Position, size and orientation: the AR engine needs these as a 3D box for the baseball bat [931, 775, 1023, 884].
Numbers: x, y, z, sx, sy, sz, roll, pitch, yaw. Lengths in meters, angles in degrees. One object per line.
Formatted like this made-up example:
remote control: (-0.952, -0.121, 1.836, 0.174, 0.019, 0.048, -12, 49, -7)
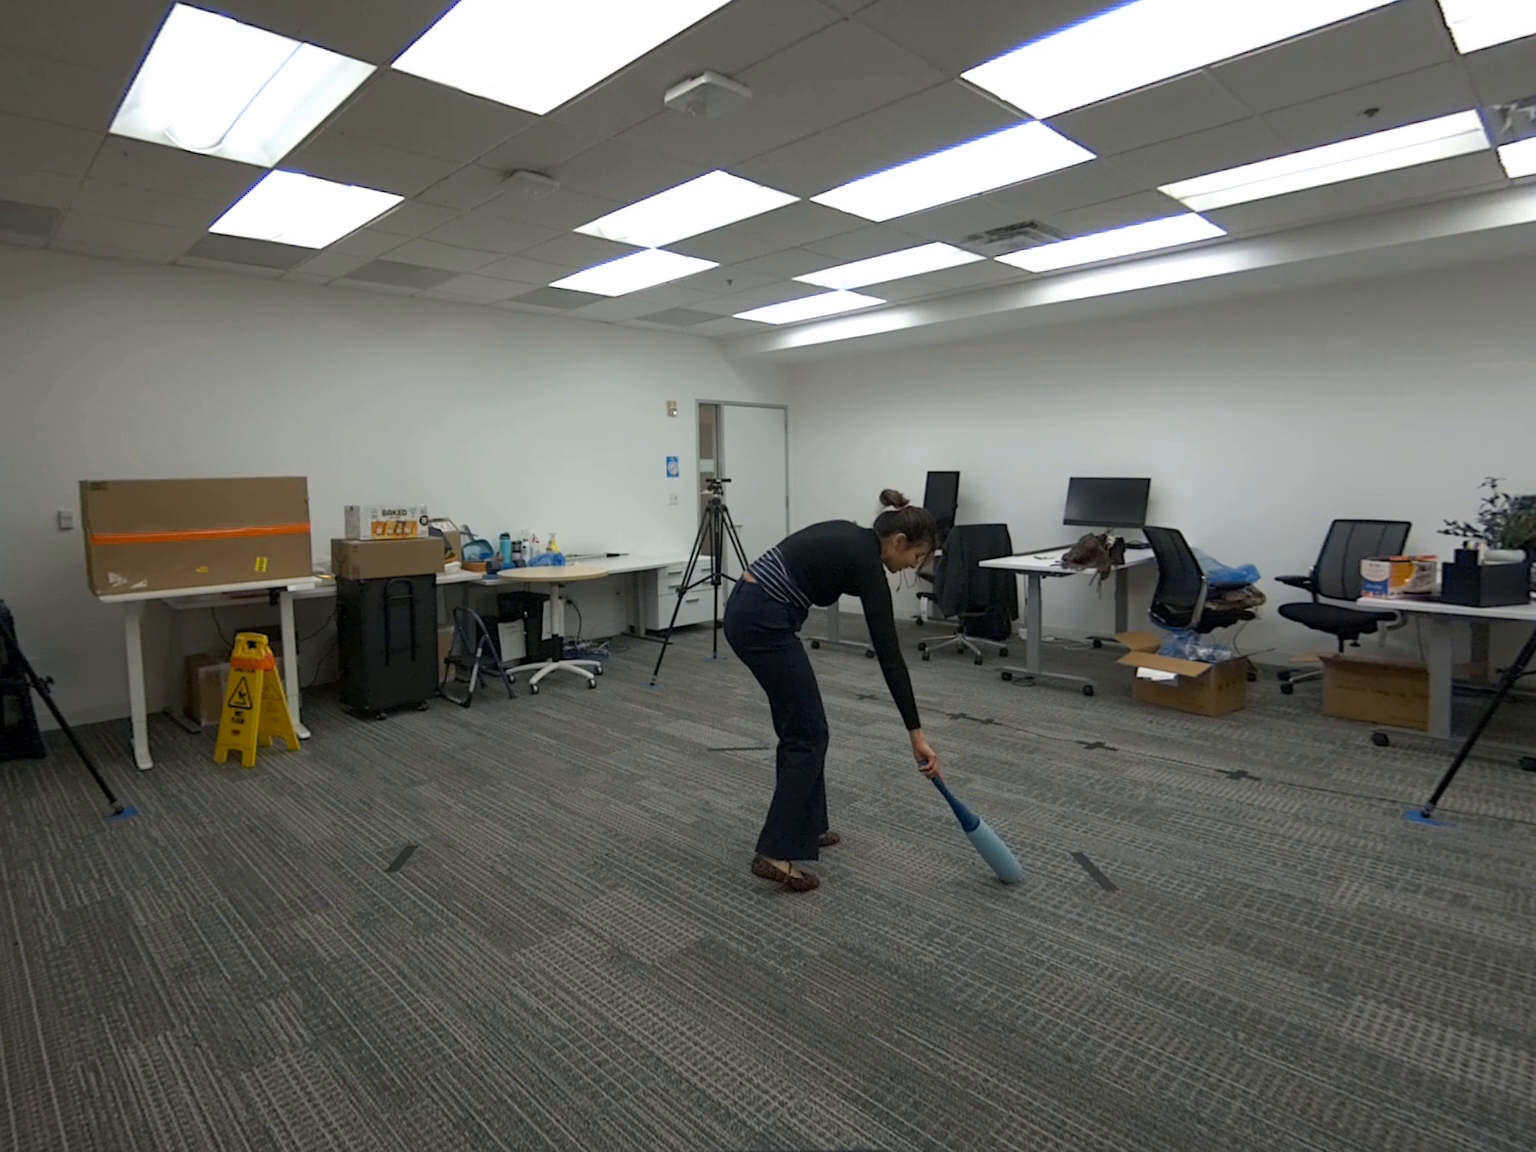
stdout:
baseball bat: (0.675, 0.825, 2.892, 0.089, 0.535, 0.090, -38, 11, 9)
